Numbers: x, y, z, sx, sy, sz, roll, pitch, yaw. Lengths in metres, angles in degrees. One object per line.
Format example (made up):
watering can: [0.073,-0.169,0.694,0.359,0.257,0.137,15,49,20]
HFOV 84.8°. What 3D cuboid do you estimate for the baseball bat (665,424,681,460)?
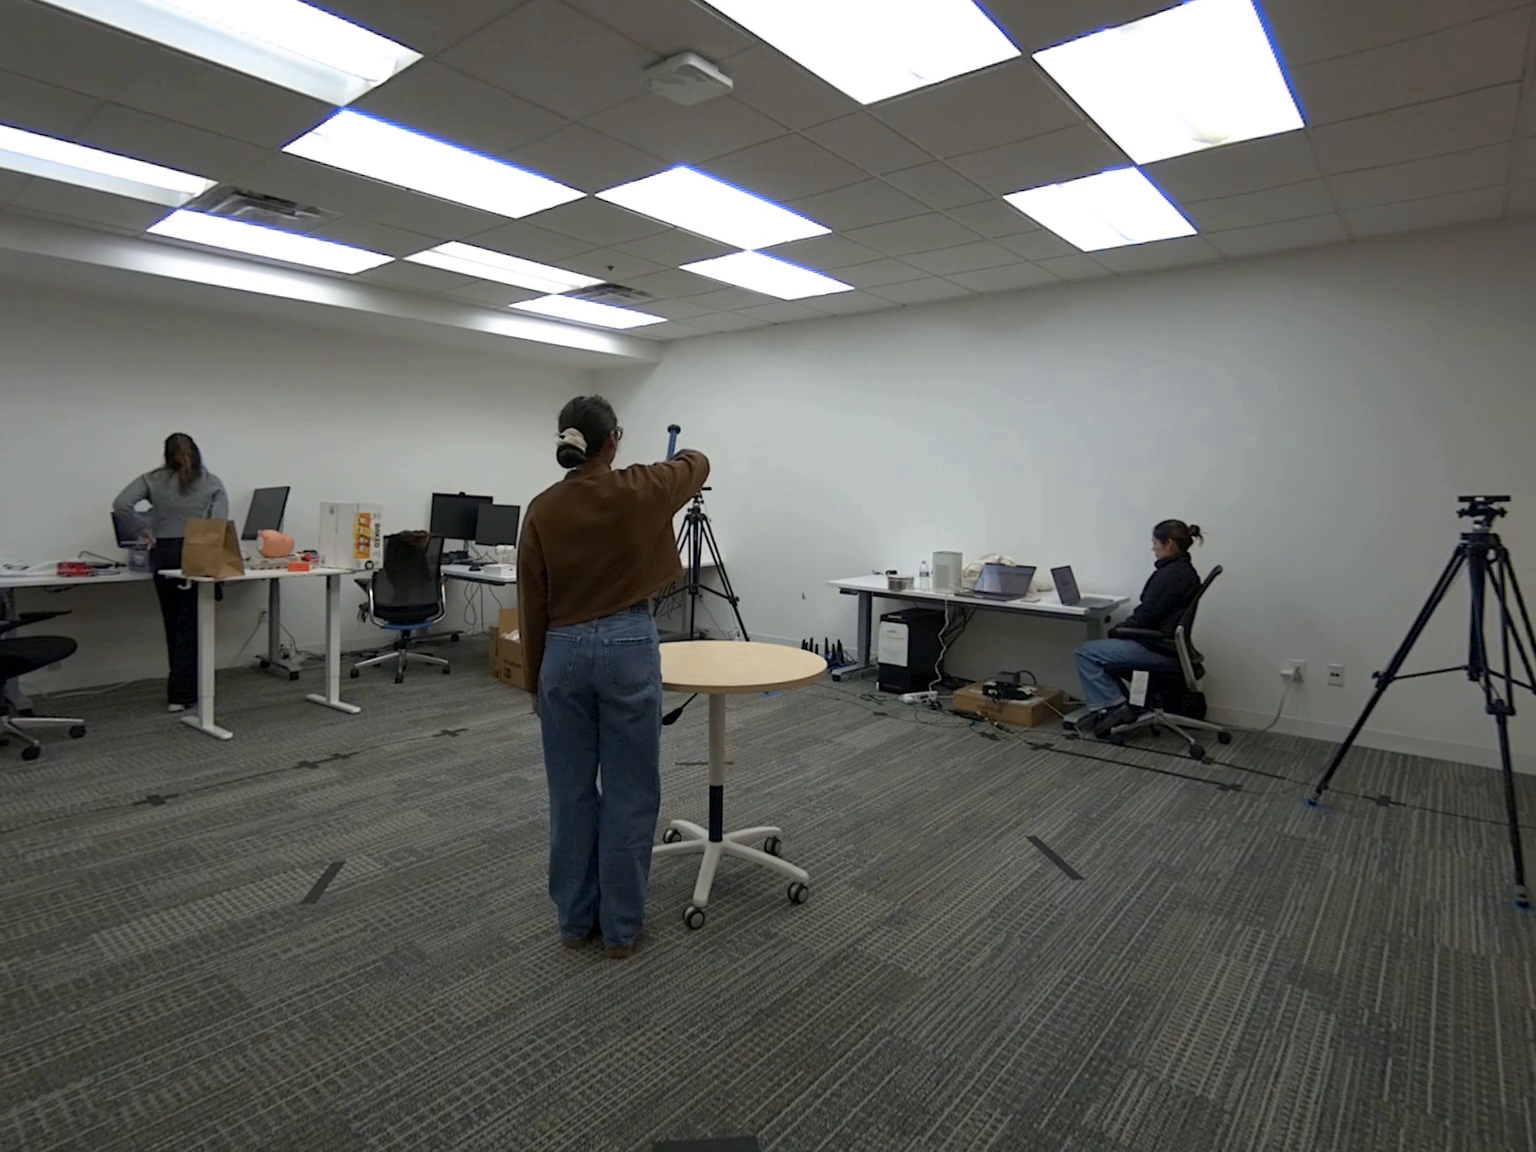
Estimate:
baseball bat: [-0.377,-0.318,3.038,0.089,0.554,0.087,5,-28,1]
